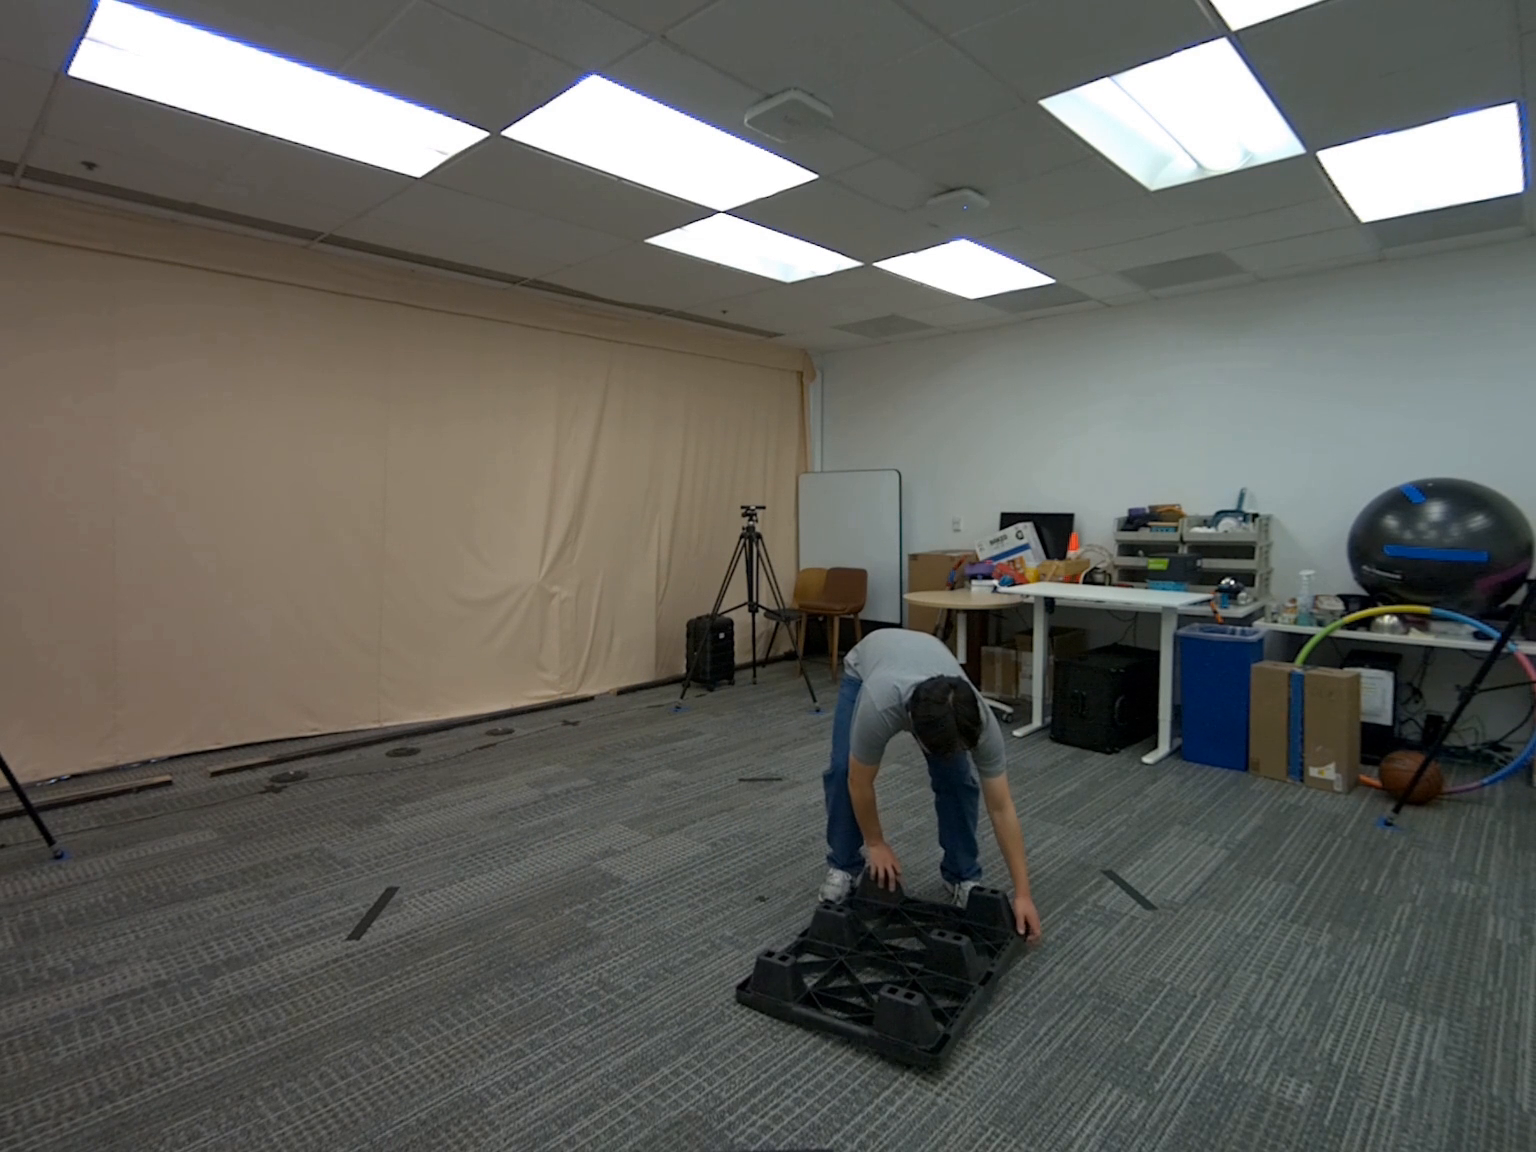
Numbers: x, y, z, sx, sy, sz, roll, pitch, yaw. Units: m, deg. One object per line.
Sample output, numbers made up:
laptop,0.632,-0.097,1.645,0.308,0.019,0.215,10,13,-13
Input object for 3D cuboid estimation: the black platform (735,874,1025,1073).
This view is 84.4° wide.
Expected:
black platform,0.367,1.095,2.498,0.623,0.143,0.783,-1,3,34
